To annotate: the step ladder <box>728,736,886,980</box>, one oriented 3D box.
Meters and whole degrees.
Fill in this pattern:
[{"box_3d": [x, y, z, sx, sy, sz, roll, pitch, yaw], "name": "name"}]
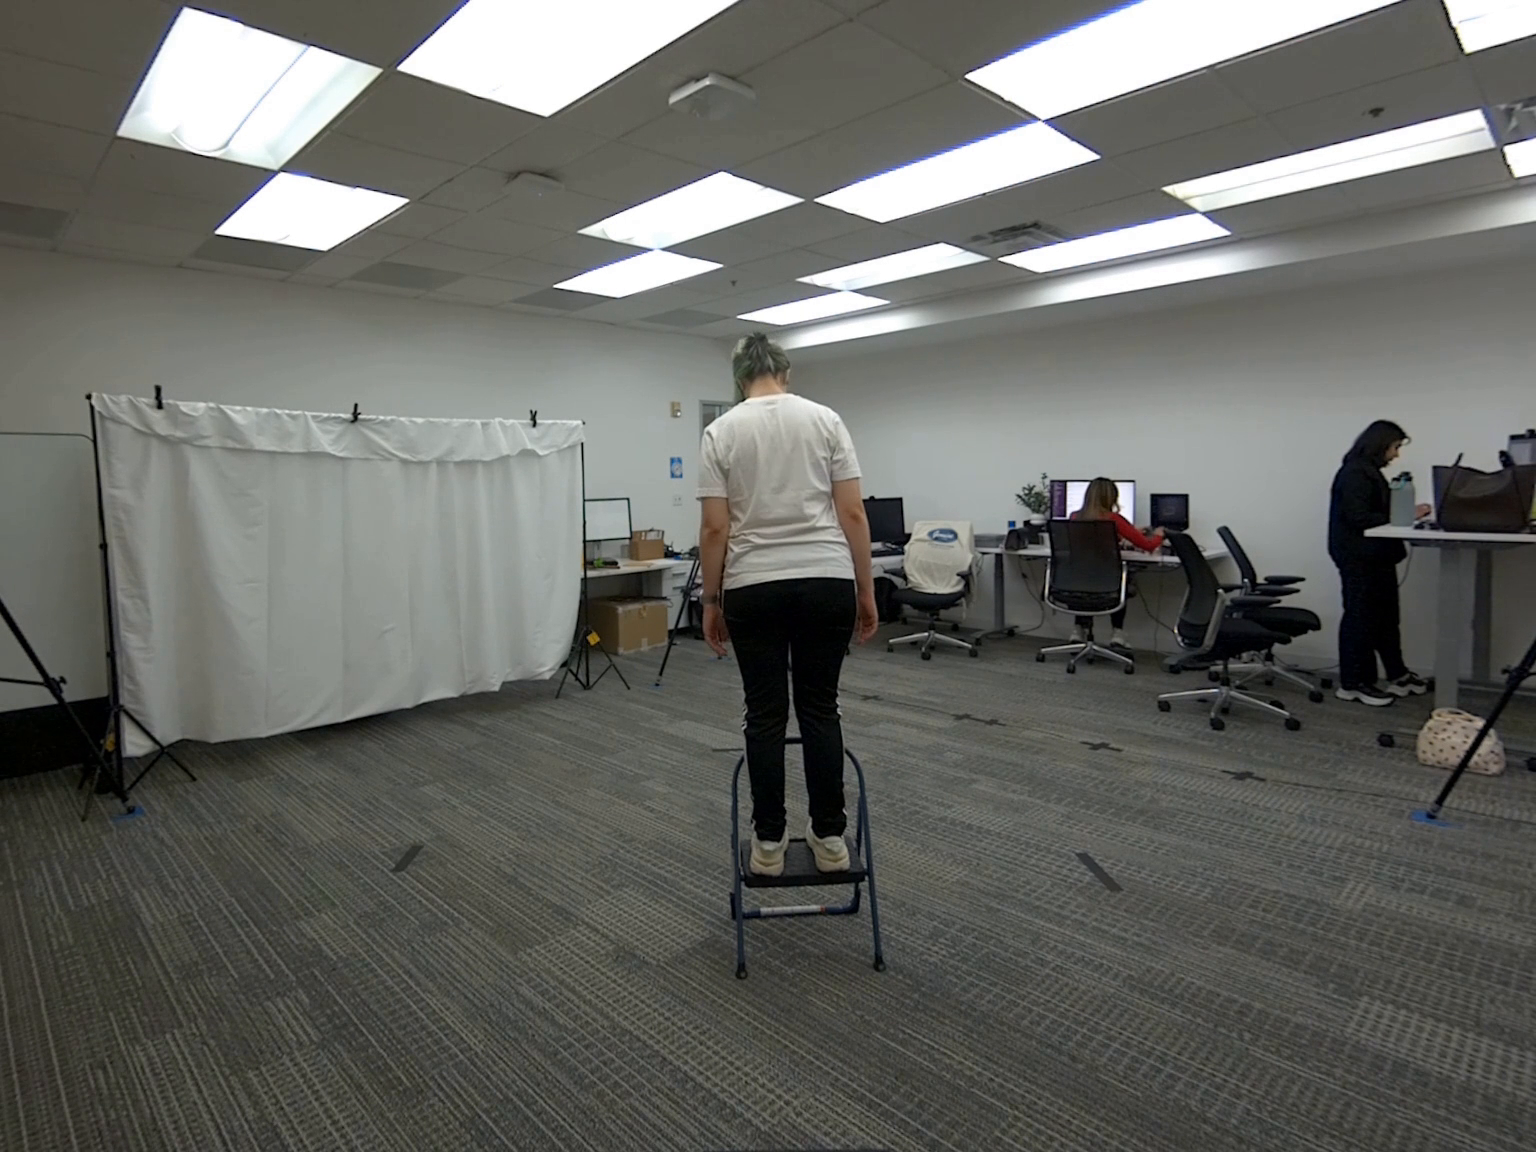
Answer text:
[{"box_3d": [0.104, 0.809, 2.565, 0.429, 0.603, 0.352, -1, 5, -5], "name": "step ladder"}]
